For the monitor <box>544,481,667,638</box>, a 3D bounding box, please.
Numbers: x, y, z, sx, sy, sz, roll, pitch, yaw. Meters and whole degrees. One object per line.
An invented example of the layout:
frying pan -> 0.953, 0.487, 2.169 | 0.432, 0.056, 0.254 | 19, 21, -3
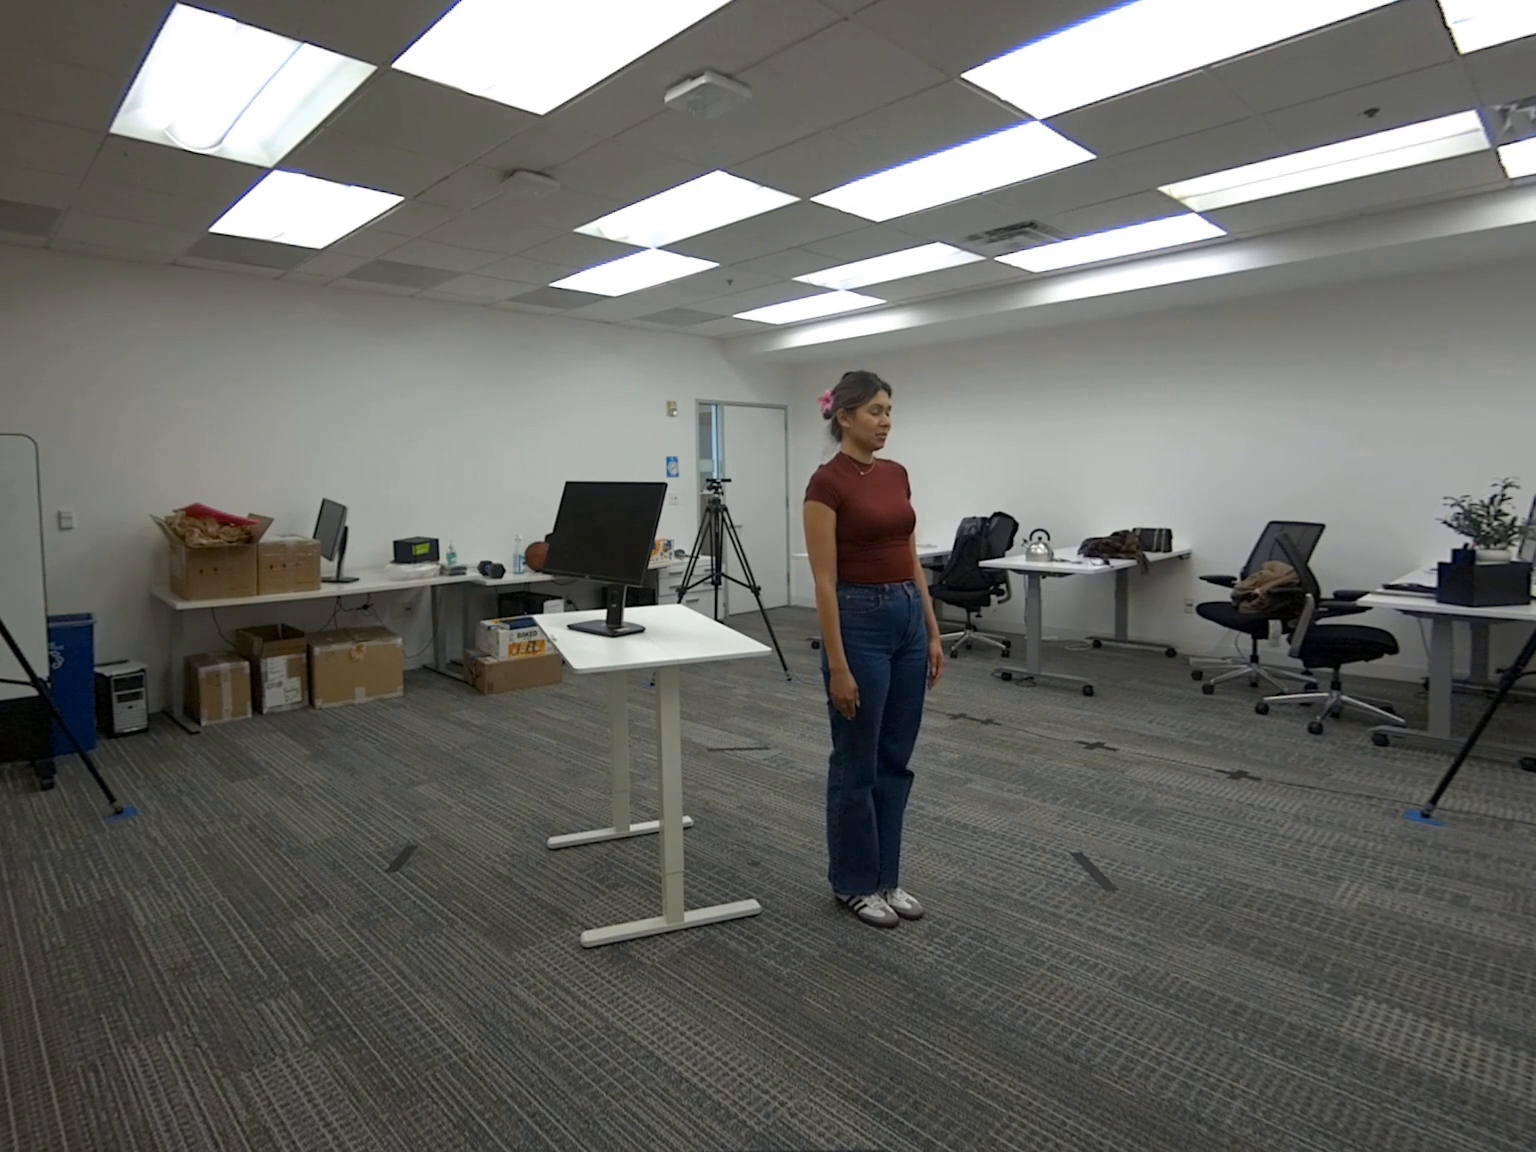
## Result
monitor -> -0.548, -0.066, 2.964 | 0.555, 0.522, 0.182 | 4, 3, 39
